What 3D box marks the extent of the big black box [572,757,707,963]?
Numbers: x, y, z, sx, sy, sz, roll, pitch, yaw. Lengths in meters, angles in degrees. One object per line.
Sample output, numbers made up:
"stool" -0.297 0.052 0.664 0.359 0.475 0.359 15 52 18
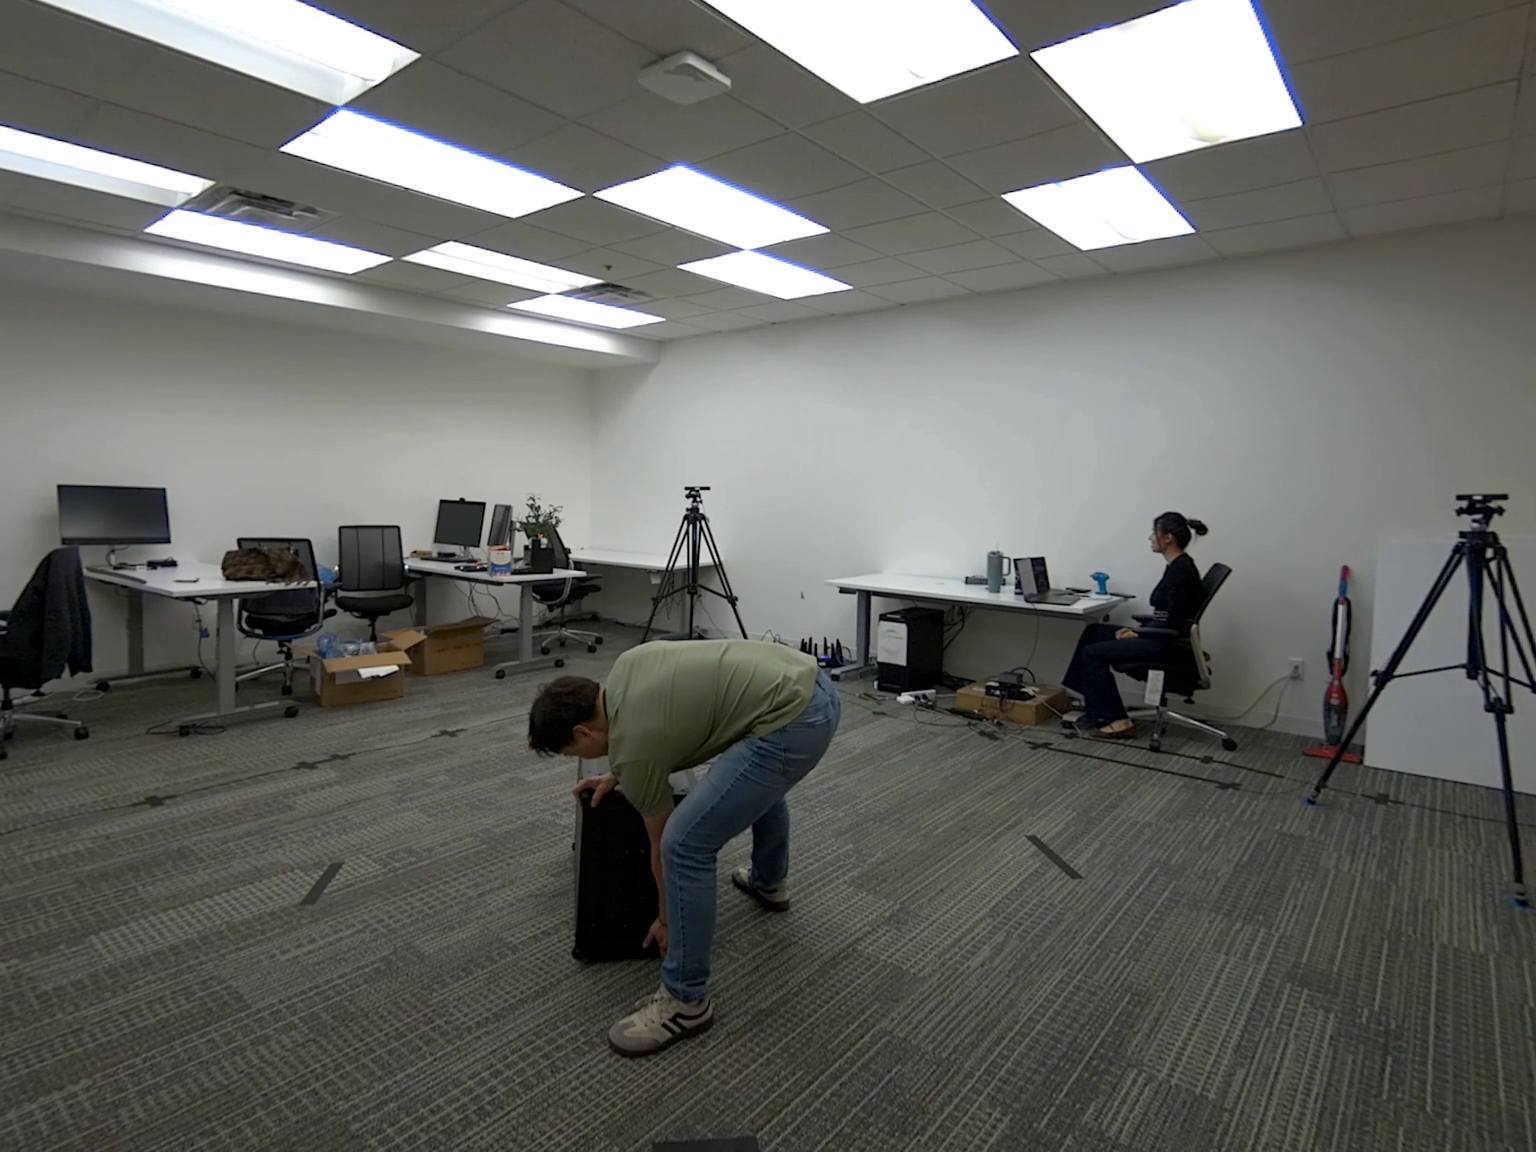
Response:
"big black box" -0.467 0.822 2.891 0.391 0.520 0.876 2 4 -14
